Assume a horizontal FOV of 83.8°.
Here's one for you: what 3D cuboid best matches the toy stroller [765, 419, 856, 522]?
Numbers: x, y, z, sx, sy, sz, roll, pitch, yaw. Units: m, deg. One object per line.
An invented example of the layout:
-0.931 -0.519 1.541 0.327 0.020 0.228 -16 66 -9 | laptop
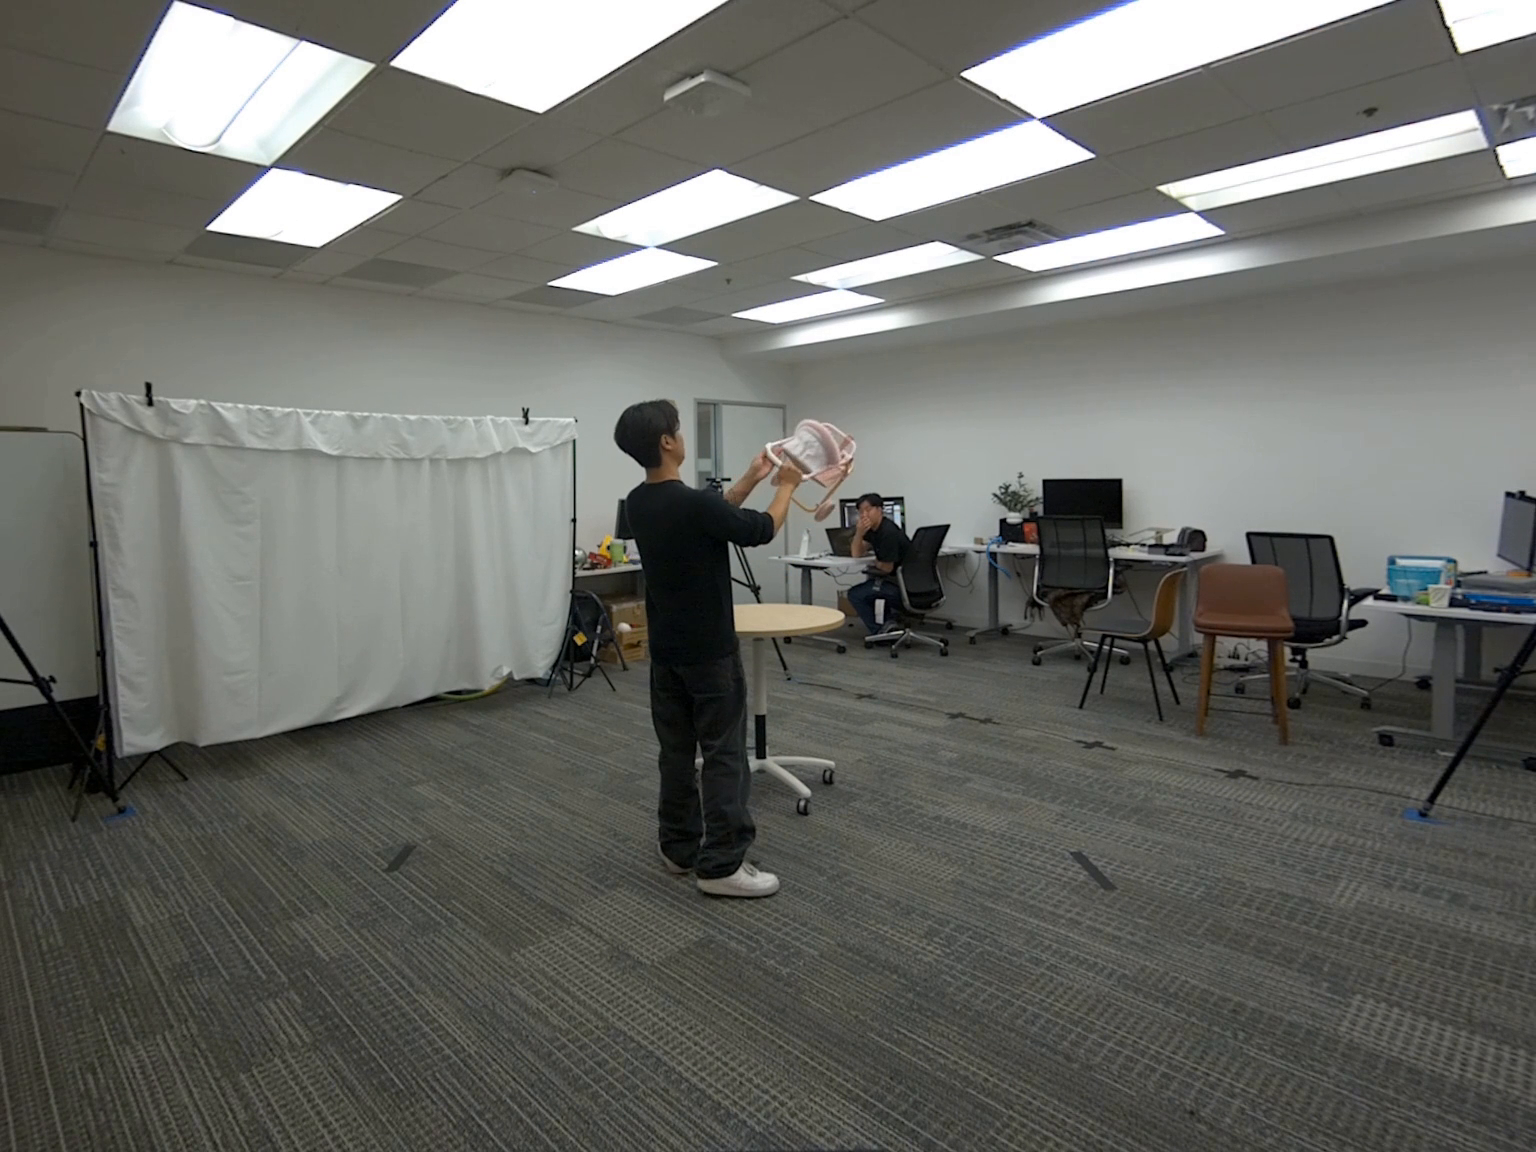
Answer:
0.196 -0.458 3.411 0.341 0.288 0.522 -43 -18 -5 | toy stroller
